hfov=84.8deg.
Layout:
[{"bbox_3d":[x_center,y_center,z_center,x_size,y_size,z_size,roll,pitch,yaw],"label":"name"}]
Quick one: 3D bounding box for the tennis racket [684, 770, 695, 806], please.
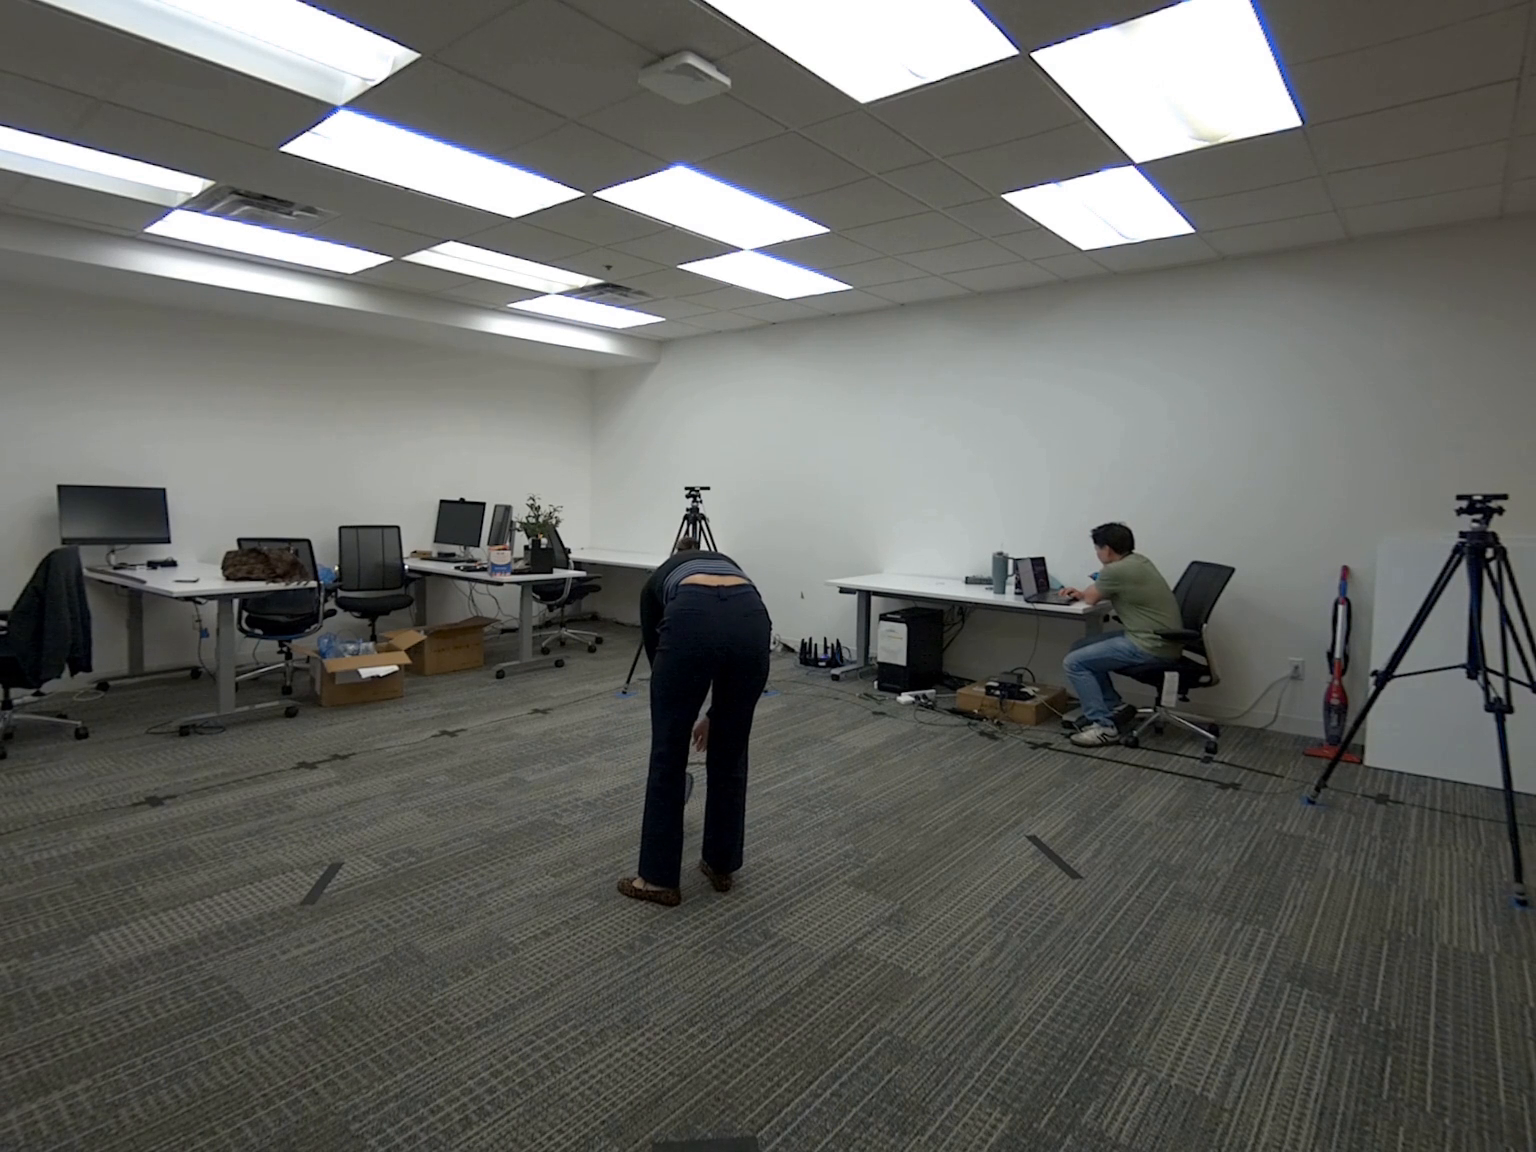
[{"bbox_3d":[-0.361,0.829,3.401,0.032,0.423,0.213,19,34,19],"label":"tennis racket"}]
